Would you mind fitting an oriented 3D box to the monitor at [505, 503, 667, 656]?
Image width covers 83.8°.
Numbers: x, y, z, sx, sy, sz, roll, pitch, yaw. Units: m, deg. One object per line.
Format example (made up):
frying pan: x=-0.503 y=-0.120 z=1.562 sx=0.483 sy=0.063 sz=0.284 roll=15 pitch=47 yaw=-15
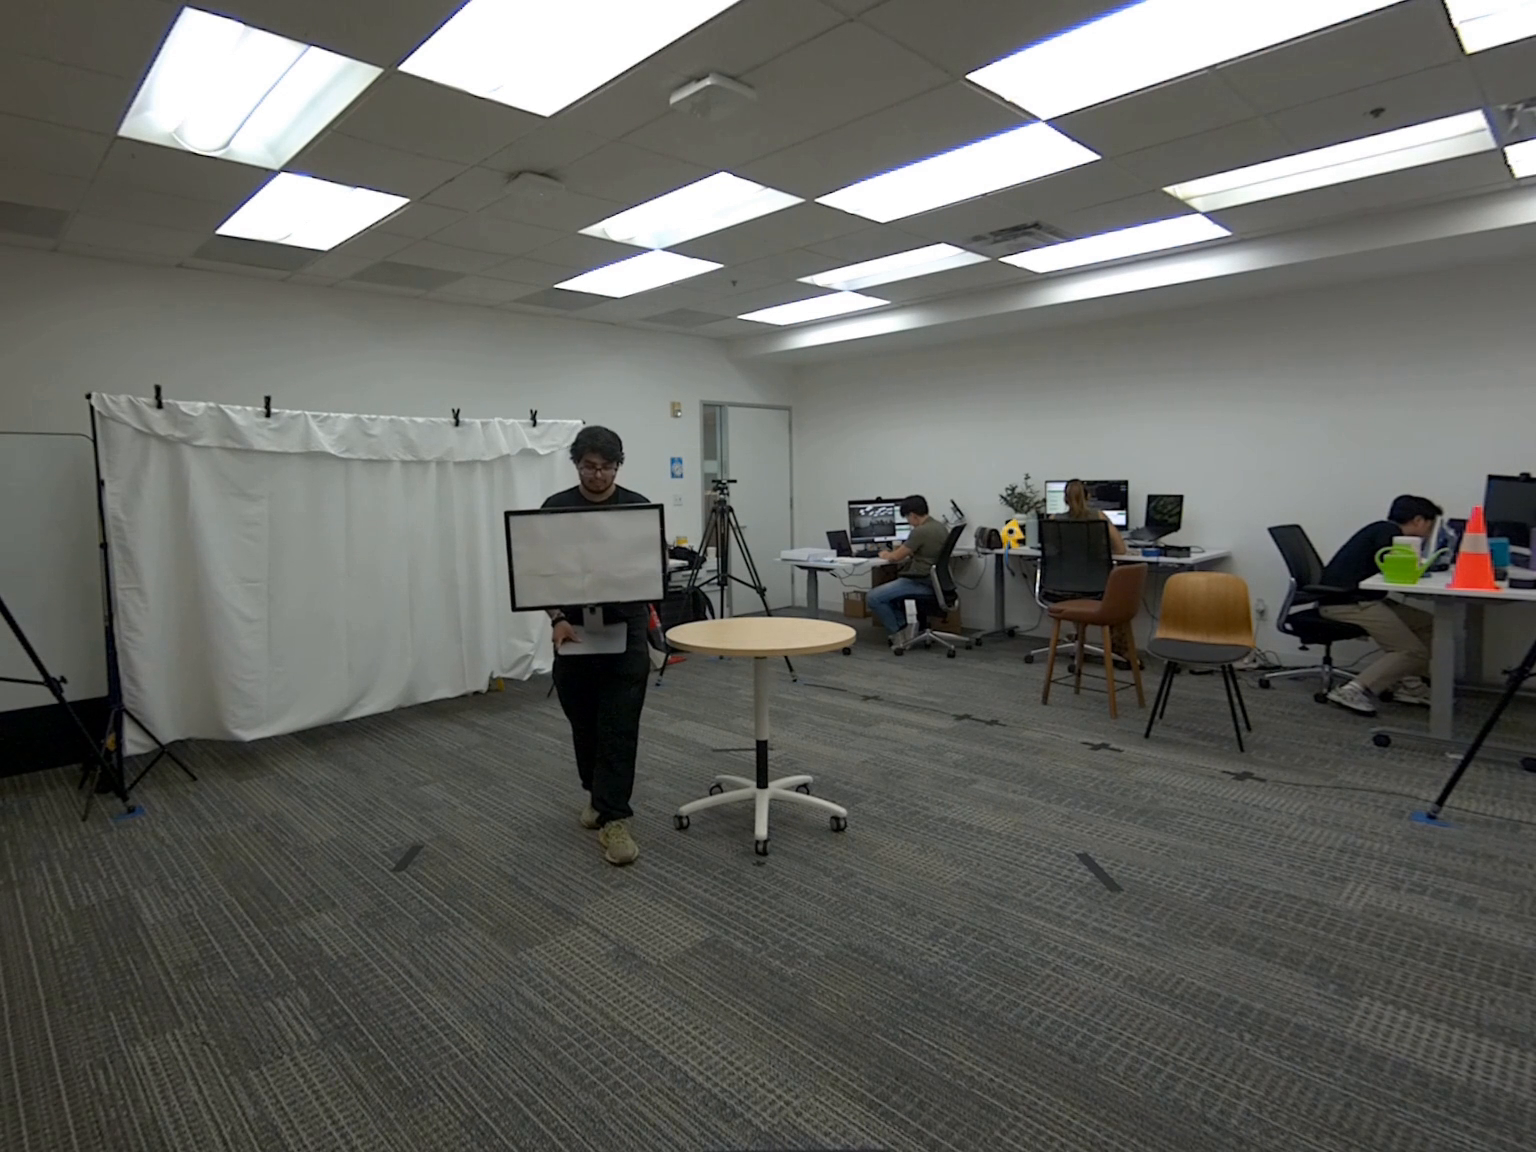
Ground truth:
monitor: x=-0.658 y=-0.003 z=3.137 sx=0.561 sy=0.545 sz=0.215 roll=-3 pitch=18 yaw=-8
